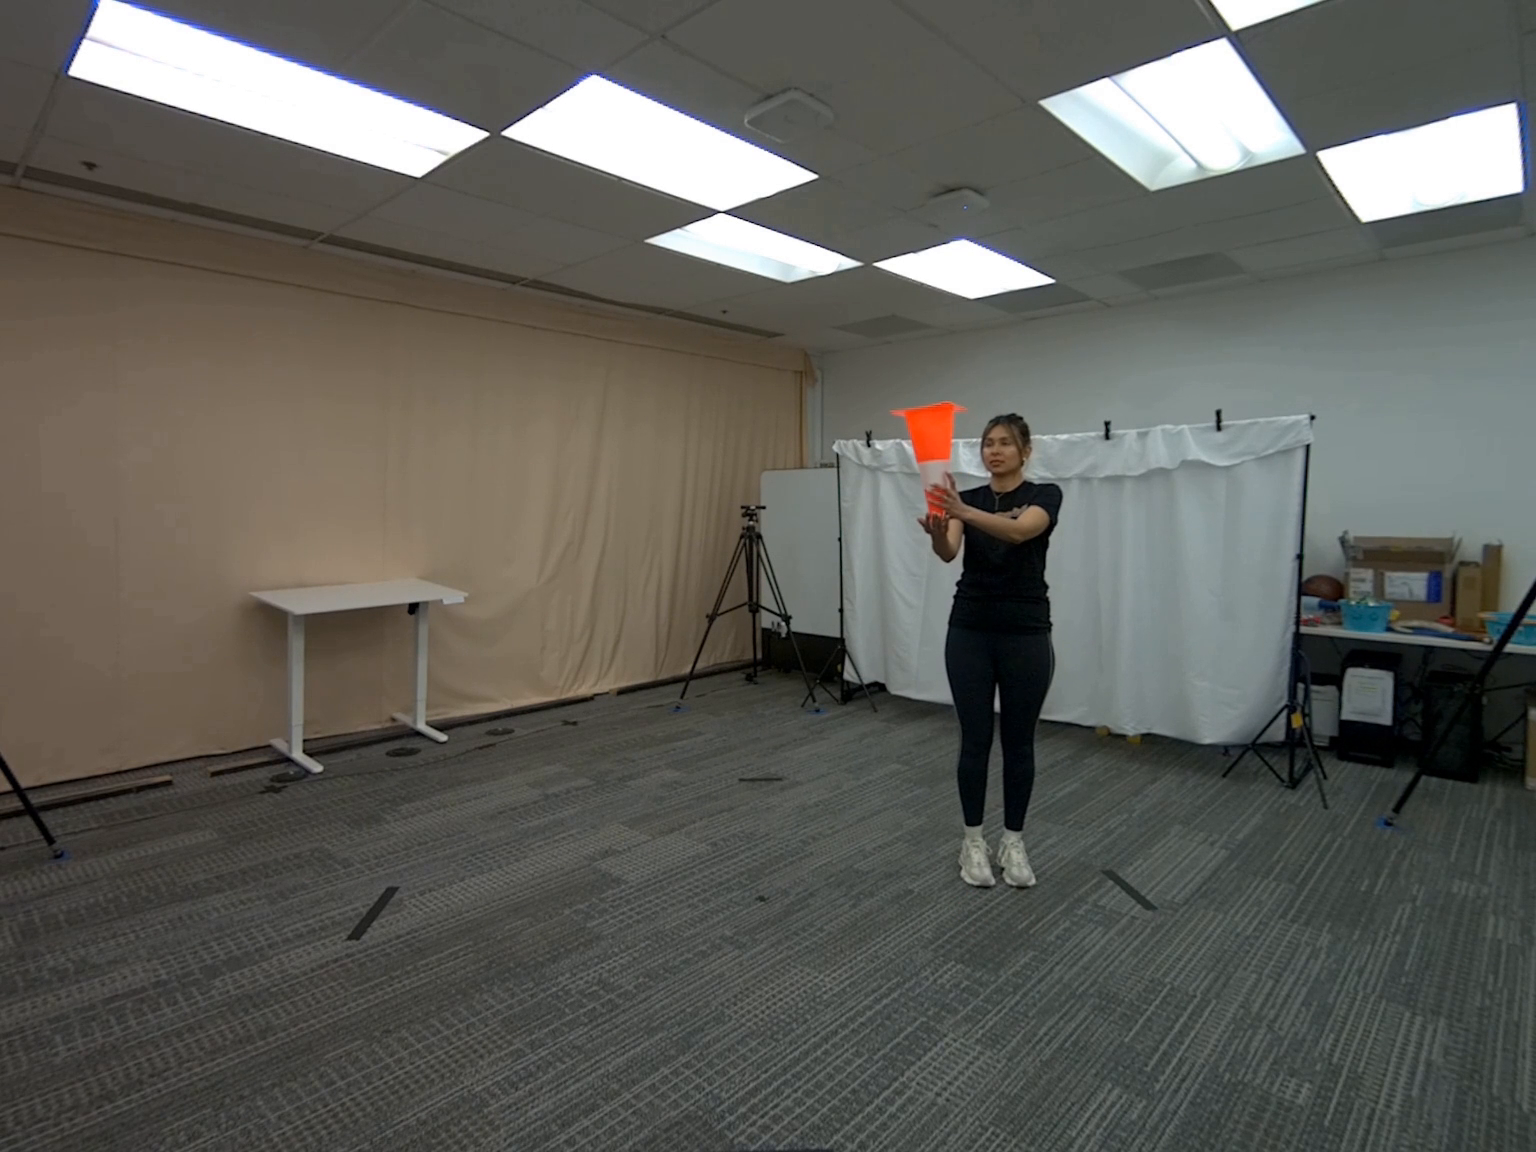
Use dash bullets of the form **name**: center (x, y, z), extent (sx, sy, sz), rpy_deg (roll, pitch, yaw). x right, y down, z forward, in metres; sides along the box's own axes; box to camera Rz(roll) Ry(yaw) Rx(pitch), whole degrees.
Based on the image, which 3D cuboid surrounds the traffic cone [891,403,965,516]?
- **traffic cone**: center (0.556, -0.347, 2.729), extent (0.209, 0.384, 0.199), rpy_deg (-3, 0, 33)
